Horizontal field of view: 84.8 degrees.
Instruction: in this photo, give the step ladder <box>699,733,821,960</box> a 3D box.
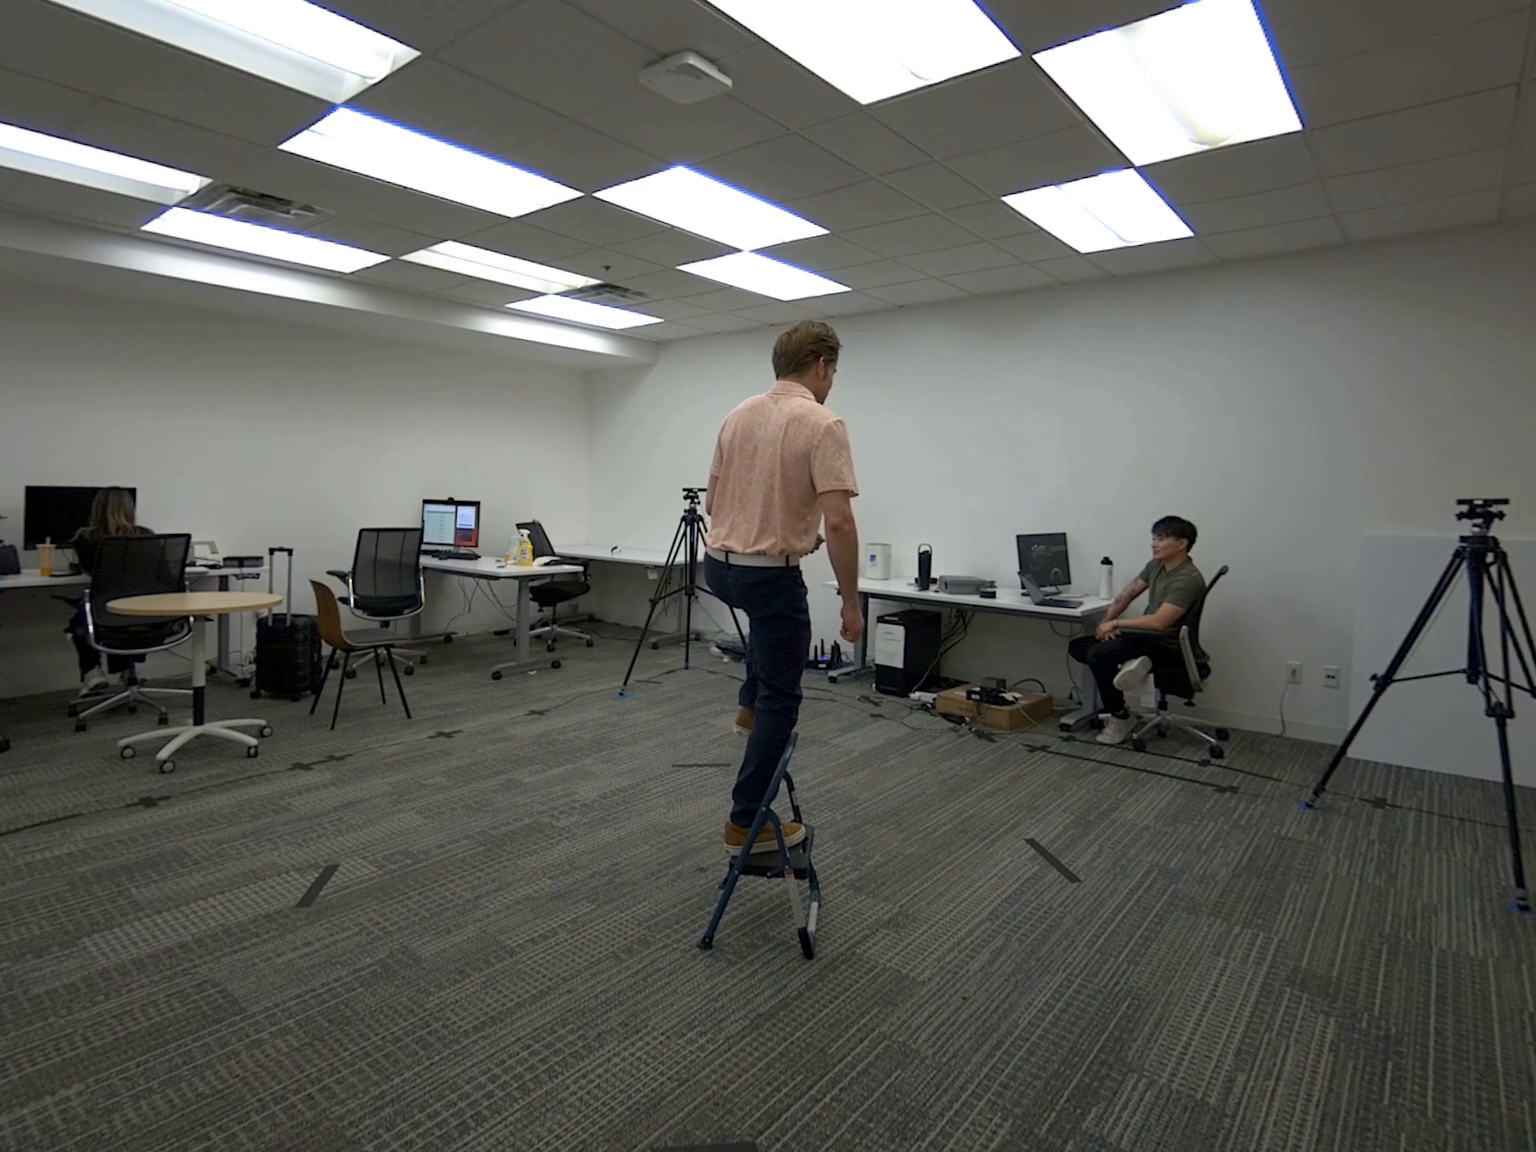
[{"bbox_3d":[-0.014,0.811,2.731,0.353,0.604,0.428,2,4,7],"label":"step ladder"}]
